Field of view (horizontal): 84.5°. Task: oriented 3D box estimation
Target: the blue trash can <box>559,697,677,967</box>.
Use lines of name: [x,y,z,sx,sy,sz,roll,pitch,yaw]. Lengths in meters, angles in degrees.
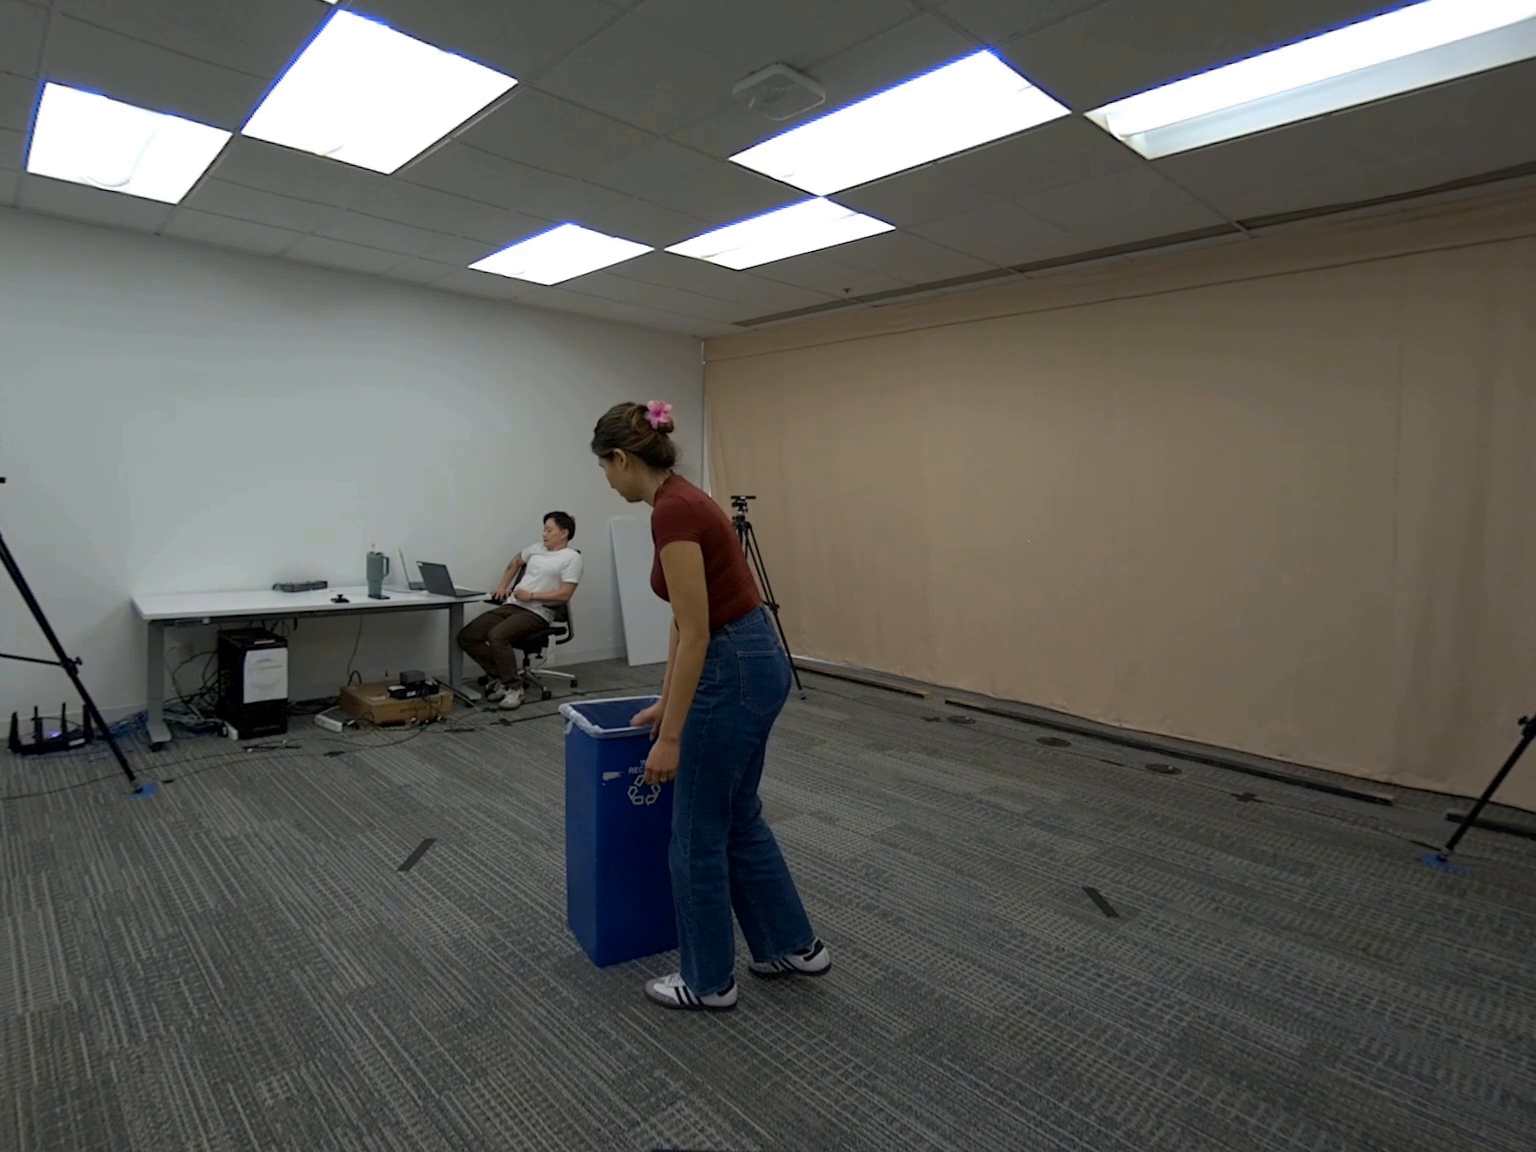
blue trash can: [-0.445,0.778,2.657,0.366,0.712,0.387,-1,4,-31]
